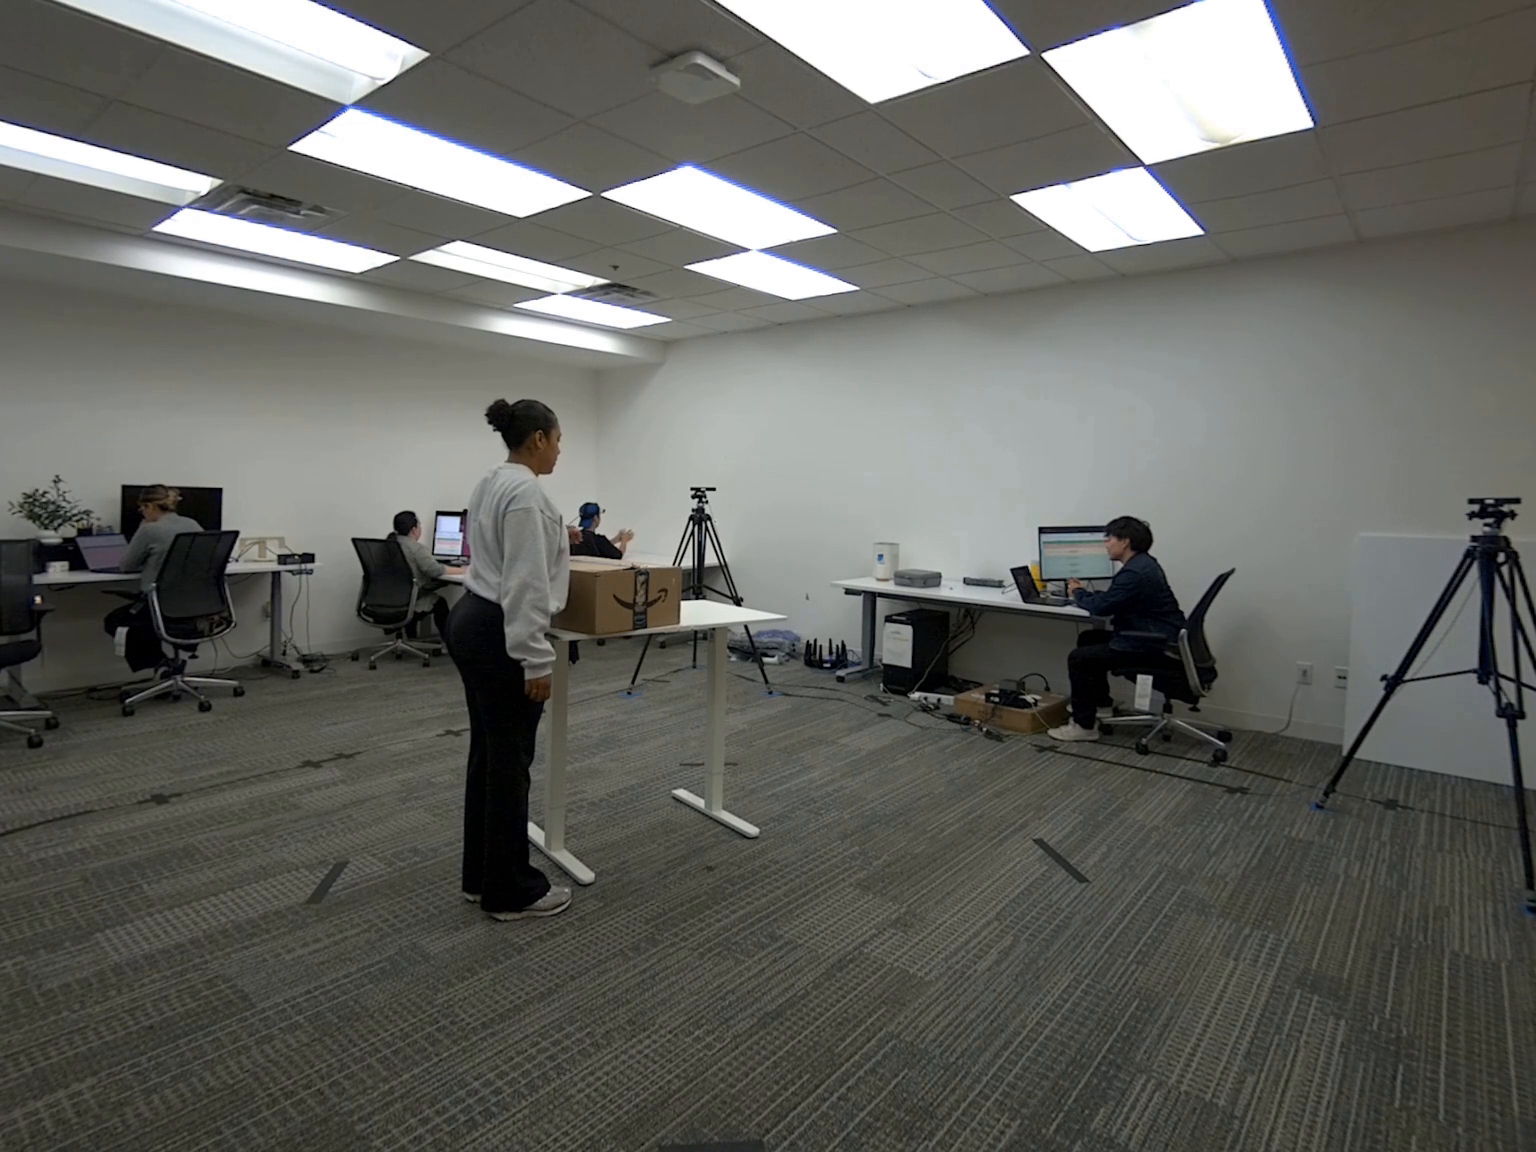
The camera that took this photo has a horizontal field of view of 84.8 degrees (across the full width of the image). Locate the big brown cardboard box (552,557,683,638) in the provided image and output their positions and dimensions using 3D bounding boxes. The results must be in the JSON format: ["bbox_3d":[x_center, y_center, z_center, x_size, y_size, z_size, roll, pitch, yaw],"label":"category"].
[{"bbox_3d":[-0.681,0.062,3.179,0.609,0.232,0.405,5,6,39],"label":"big brown cardboard box"}]
